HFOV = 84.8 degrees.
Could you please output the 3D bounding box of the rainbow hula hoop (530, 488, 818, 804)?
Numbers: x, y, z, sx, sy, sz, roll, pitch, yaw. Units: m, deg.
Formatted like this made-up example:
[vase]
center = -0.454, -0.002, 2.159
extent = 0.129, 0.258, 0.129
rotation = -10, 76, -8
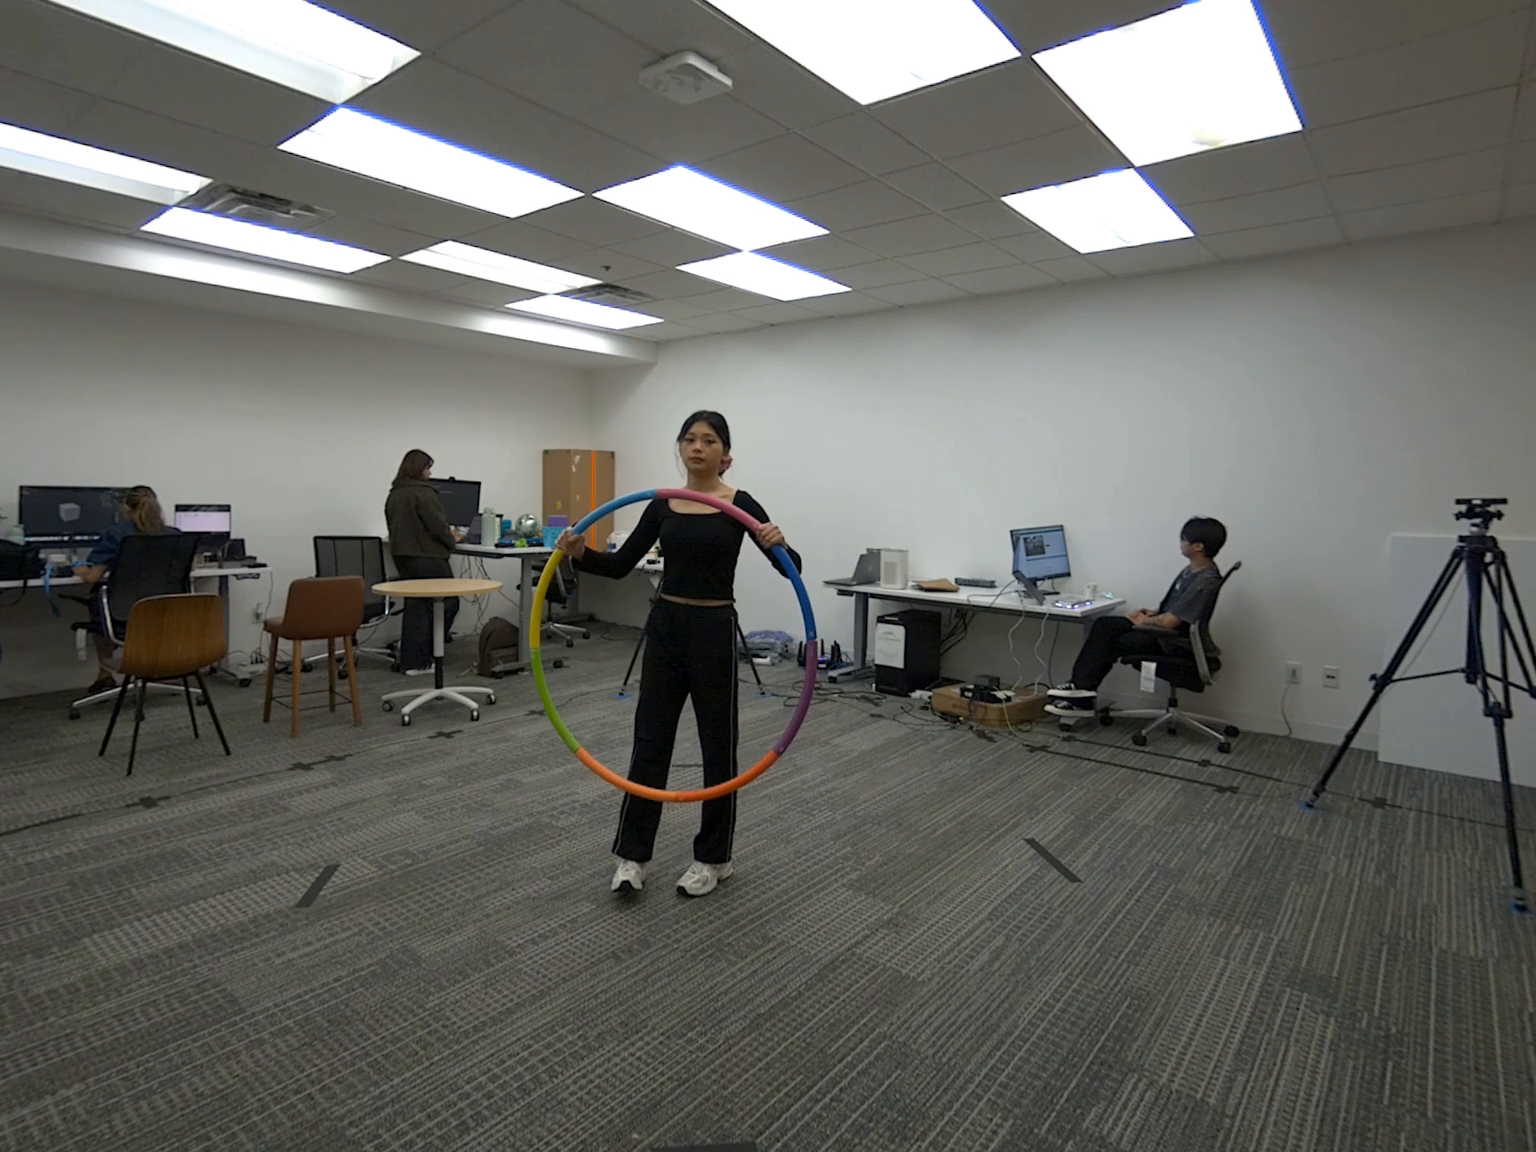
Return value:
[rainbow hula hoop]
center = -0.332, 0.215, 2.711
extent = 0.996, 0.978, 0.035
rotation = 2, 0, 16
